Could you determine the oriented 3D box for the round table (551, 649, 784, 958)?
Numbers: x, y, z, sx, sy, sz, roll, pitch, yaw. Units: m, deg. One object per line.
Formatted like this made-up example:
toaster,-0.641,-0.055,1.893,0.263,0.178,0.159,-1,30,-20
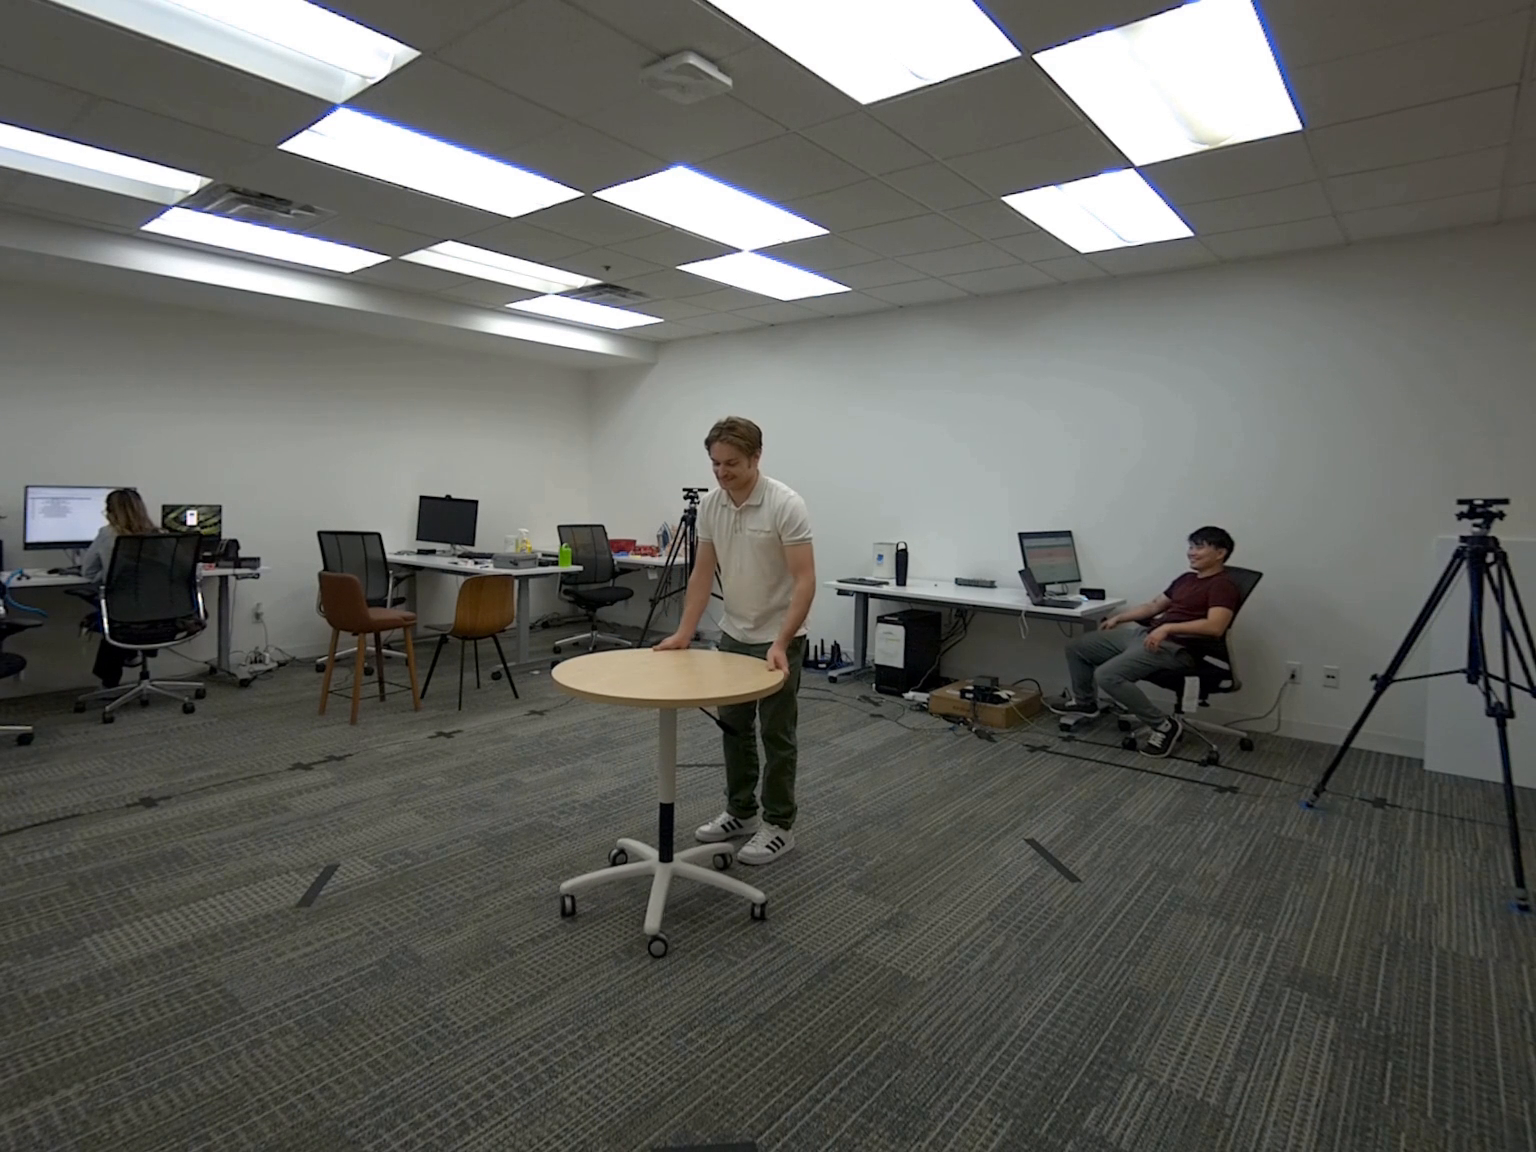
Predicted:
round table,-0.352,0.703,2.845,0.763,0.791,0.768,1,4,-2
